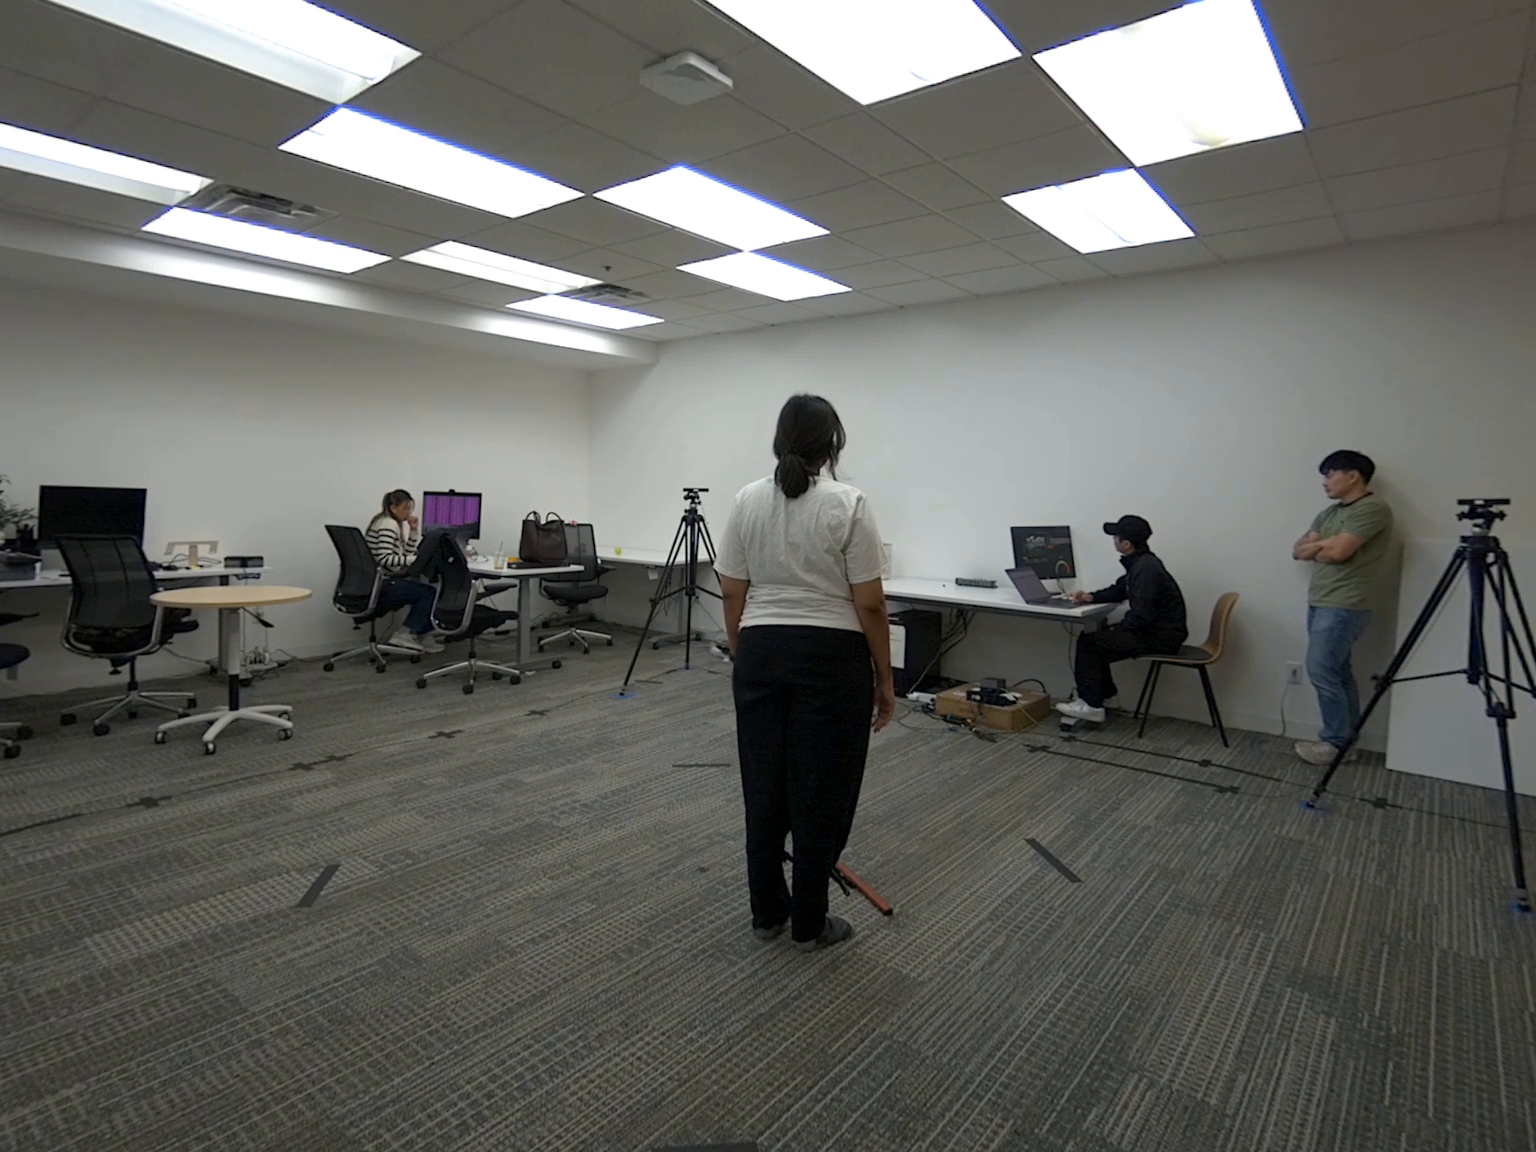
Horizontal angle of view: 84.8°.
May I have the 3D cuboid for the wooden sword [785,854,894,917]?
[{"bbox_3d":[0.172,1.038,3.270,0.050,0.024,1.052,-3,7,-24],"label":"wooden sword"}]
